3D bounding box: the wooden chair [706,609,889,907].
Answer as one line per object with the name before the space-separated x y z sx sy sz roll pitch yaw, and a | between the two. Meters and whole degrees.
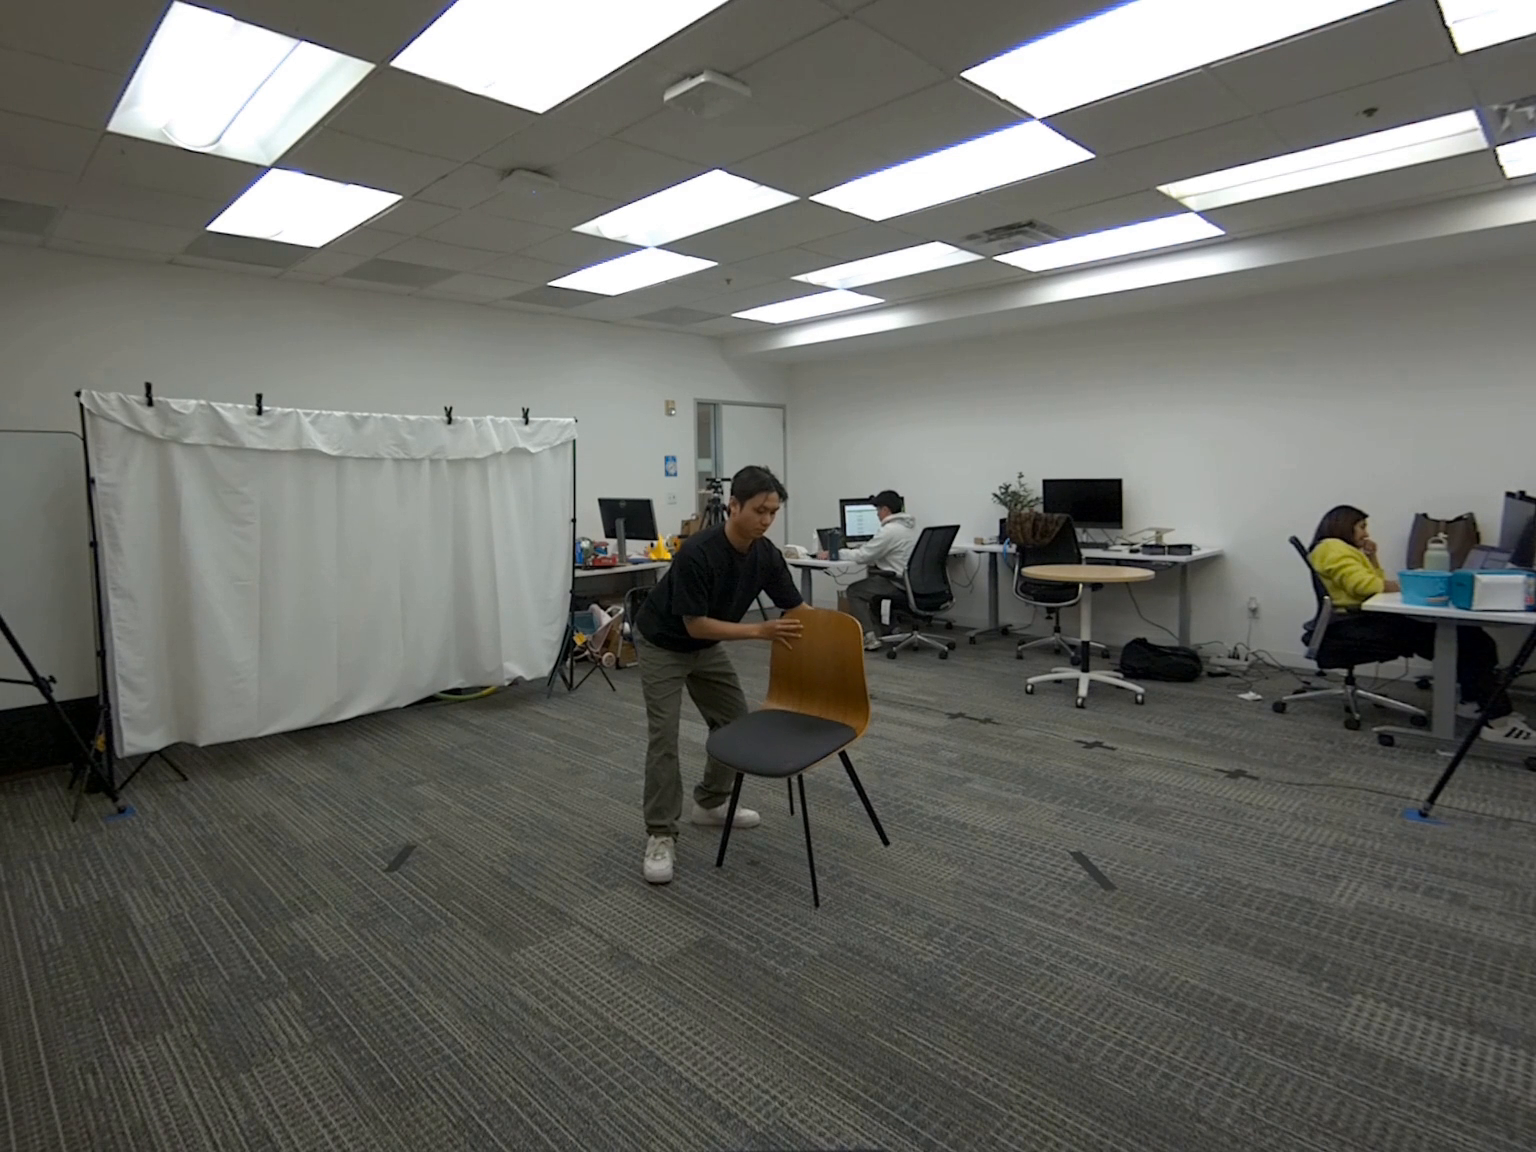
wooden chair | 0.085 0.599 3.001 0.493 0.872 0.511 3 9 40
